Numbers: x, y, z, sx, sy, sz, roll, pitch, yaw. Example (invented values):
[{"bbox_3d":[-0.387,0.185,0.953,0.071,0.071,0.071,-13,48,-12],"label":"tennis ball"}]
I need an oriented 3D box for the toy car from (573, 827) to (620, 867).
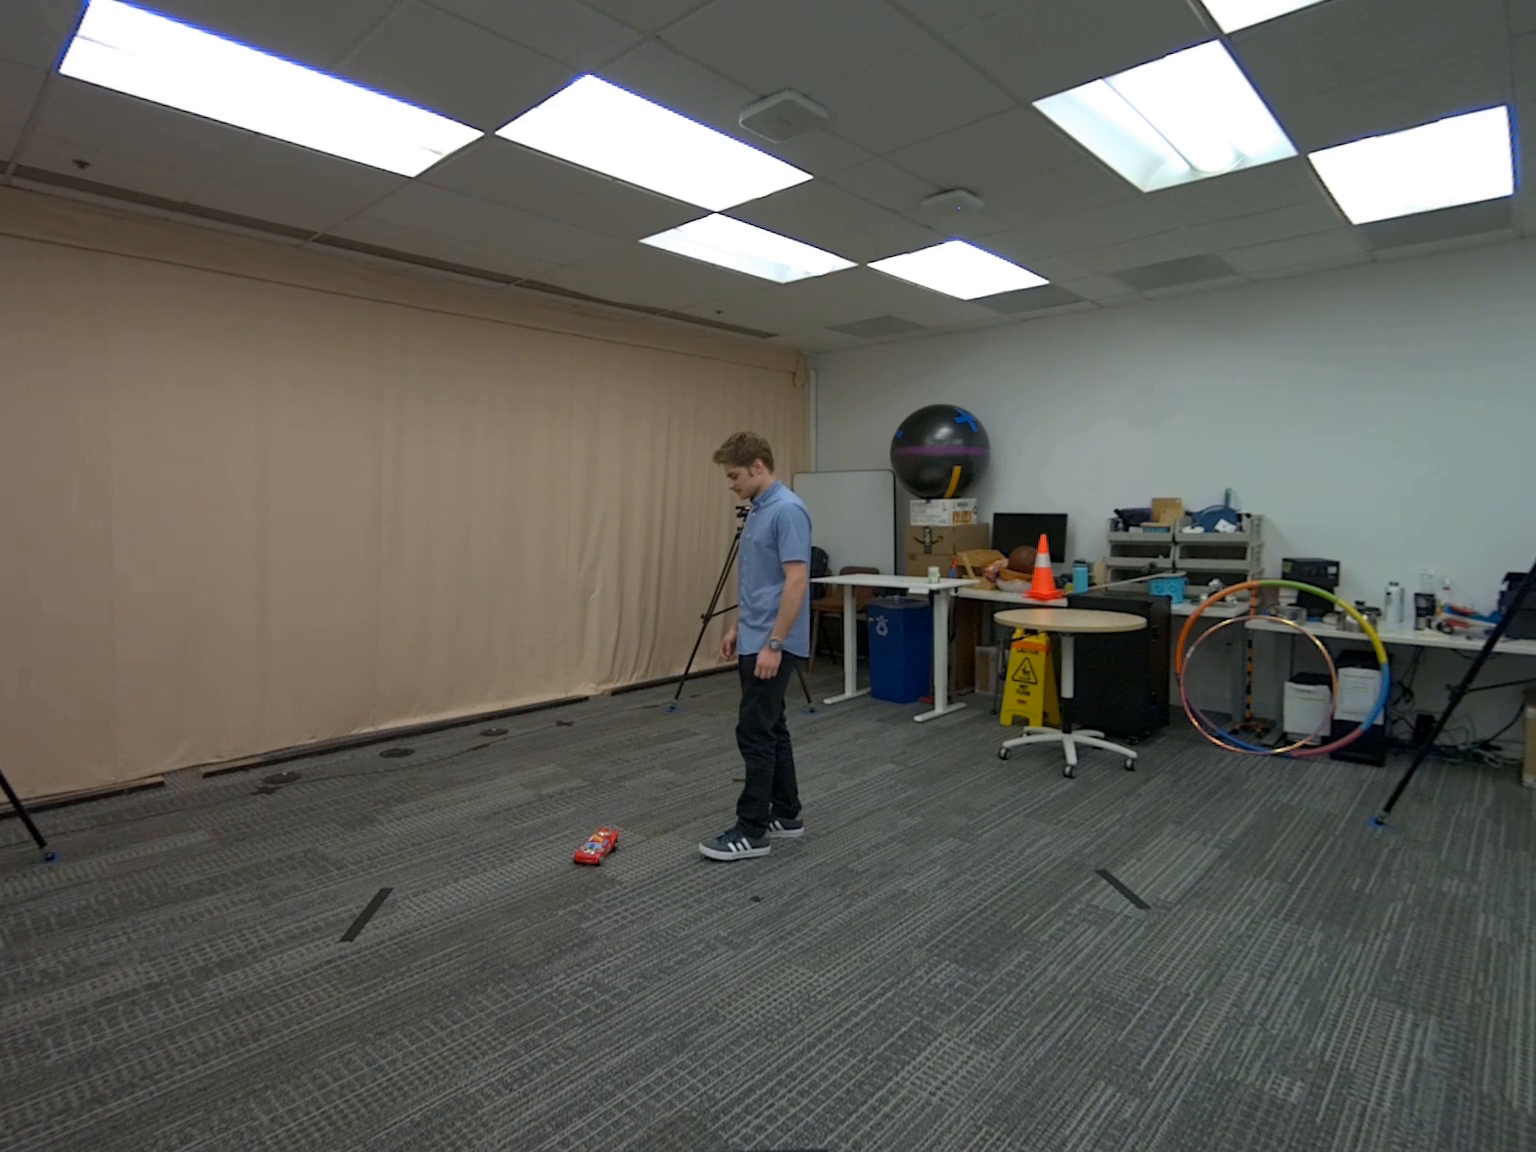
[{"bbox_3d":[-0.686,1.089,3.379,0.132,0.082,0.253,0,15,12],"label":"toy car"}]
